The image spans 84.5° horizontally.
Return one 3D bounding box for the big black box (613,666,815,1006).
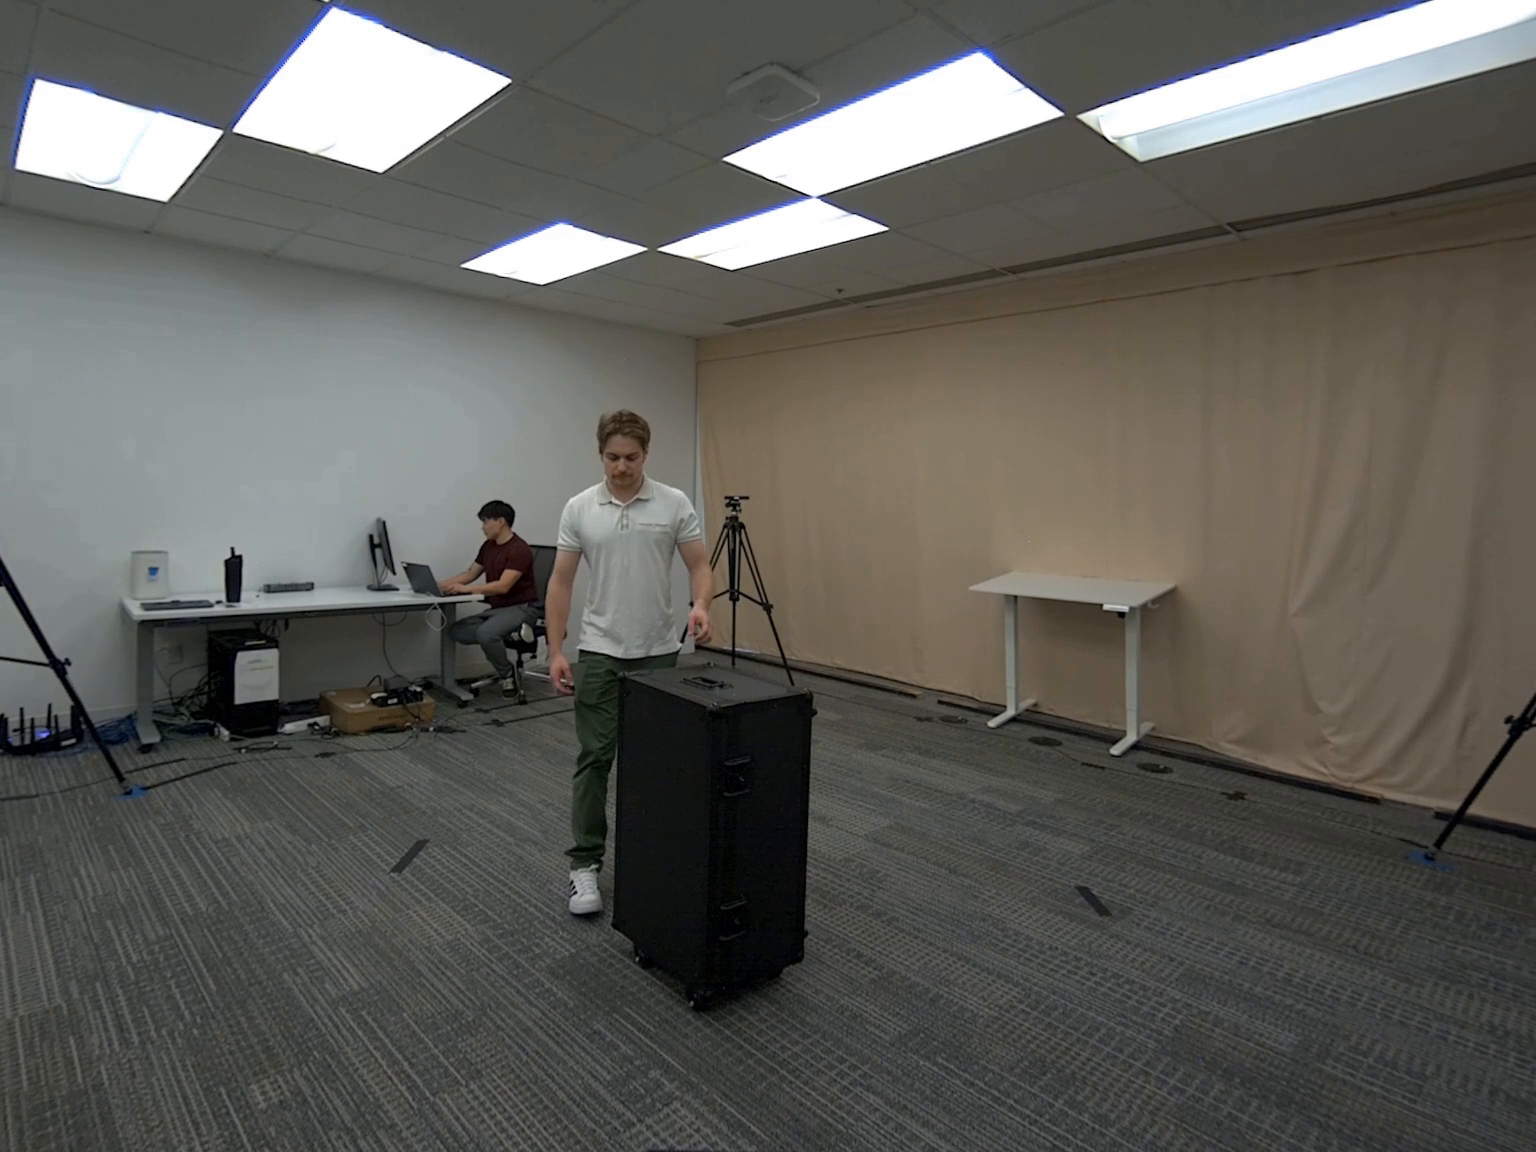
[{"bbox_3d":[-0.171,0.738,2.475,0.387,0.860,0.534,0,4,-40],"label":"big black box"}]
